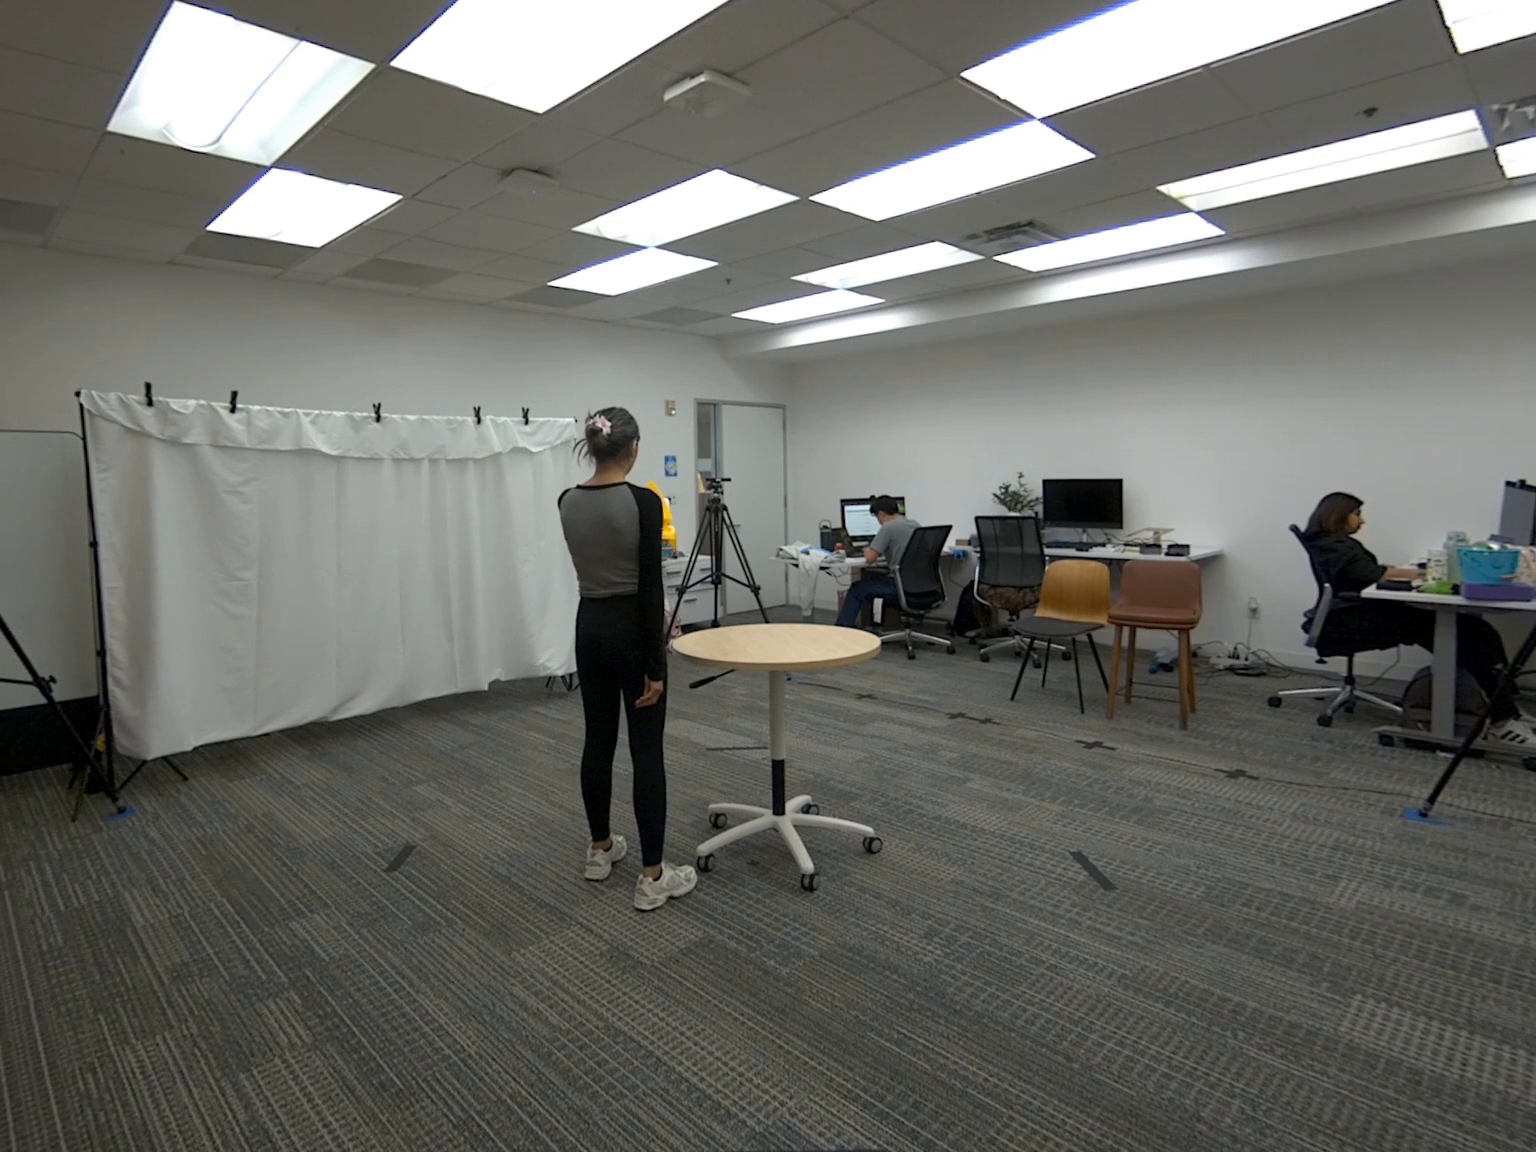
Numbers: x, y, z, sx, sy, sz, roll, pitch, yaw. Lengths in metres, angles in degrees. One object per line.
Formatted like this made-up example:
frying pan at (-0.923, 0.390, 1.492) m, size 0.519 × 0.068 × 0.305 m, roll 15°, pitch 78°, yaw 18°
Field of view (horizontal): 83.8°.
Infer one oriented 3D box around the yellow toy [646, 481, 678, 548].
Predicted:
yellow toy at (-0.466, -0.271, 3.491) m, size 0.206 × 0.231 × 0.192 m, roll 4°, pitch 0°, yaw 6°
